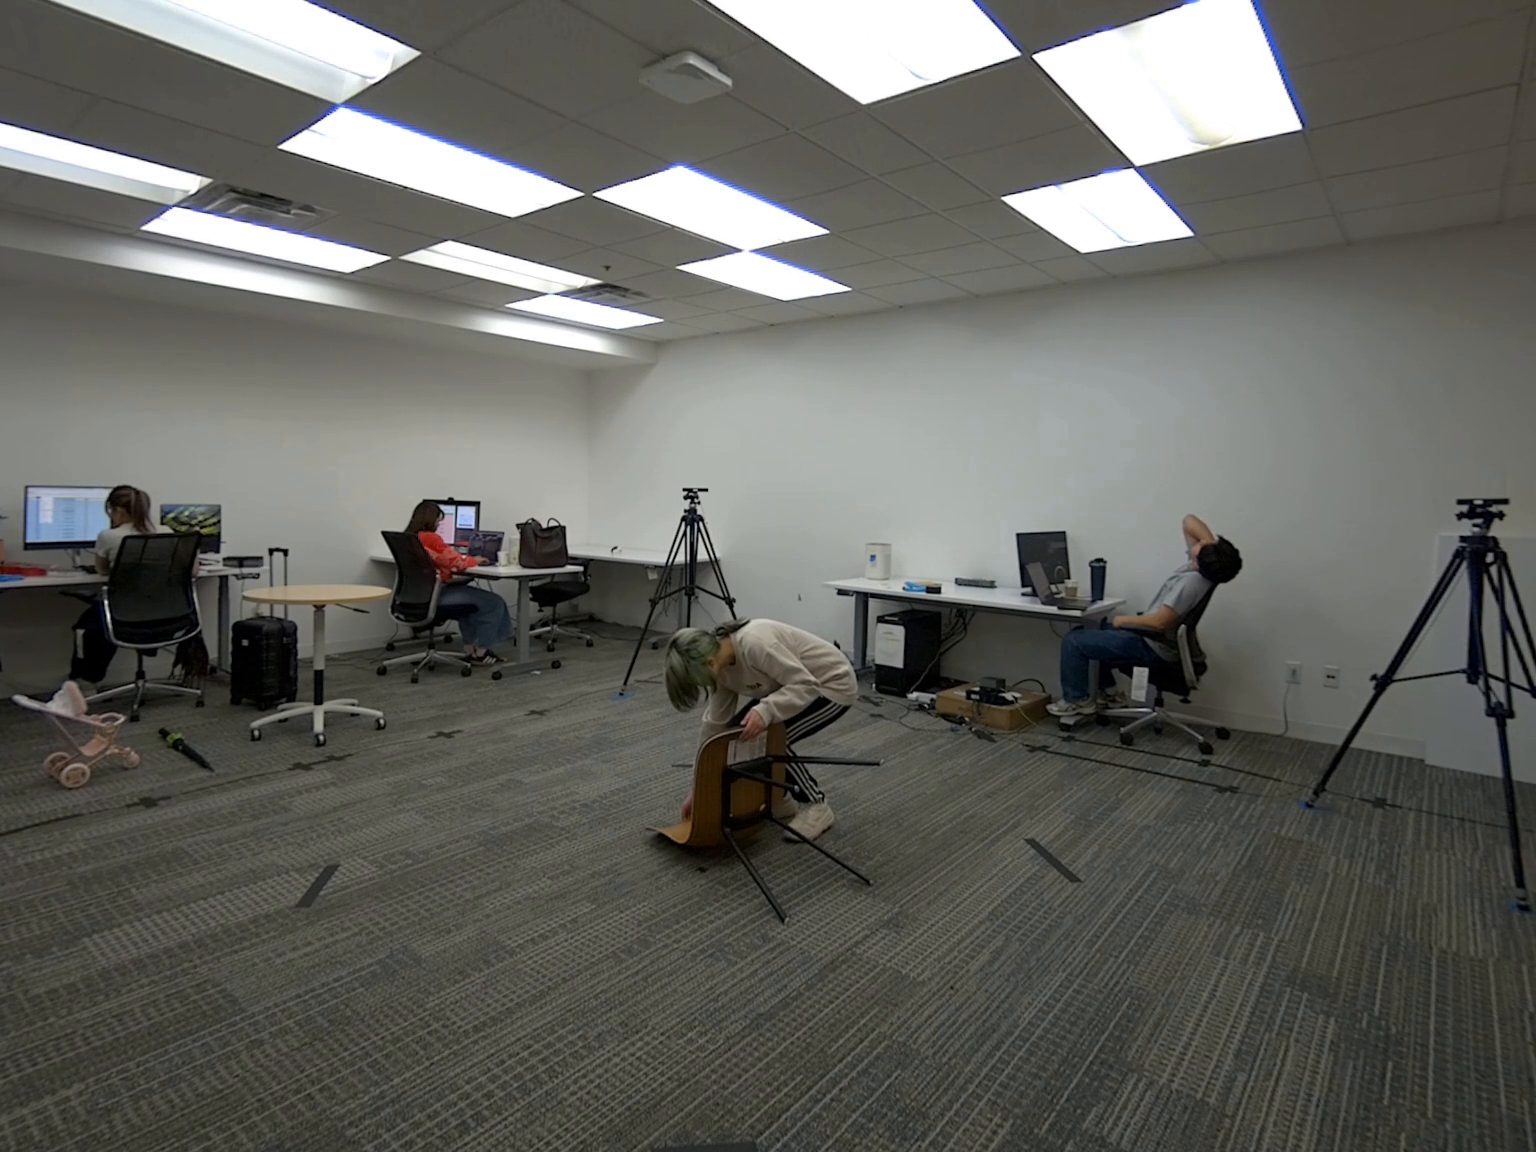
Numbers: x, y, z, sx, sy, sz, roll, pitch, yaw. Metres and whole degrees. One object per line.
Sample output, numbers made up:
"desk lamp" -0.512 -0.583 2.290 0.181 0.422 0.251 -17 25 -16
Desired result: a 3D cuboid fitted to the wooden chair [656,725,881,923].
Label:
"wooden chair" -0.080 0.809 3.161 0.463 0.522 0.907 -3 5 -43
